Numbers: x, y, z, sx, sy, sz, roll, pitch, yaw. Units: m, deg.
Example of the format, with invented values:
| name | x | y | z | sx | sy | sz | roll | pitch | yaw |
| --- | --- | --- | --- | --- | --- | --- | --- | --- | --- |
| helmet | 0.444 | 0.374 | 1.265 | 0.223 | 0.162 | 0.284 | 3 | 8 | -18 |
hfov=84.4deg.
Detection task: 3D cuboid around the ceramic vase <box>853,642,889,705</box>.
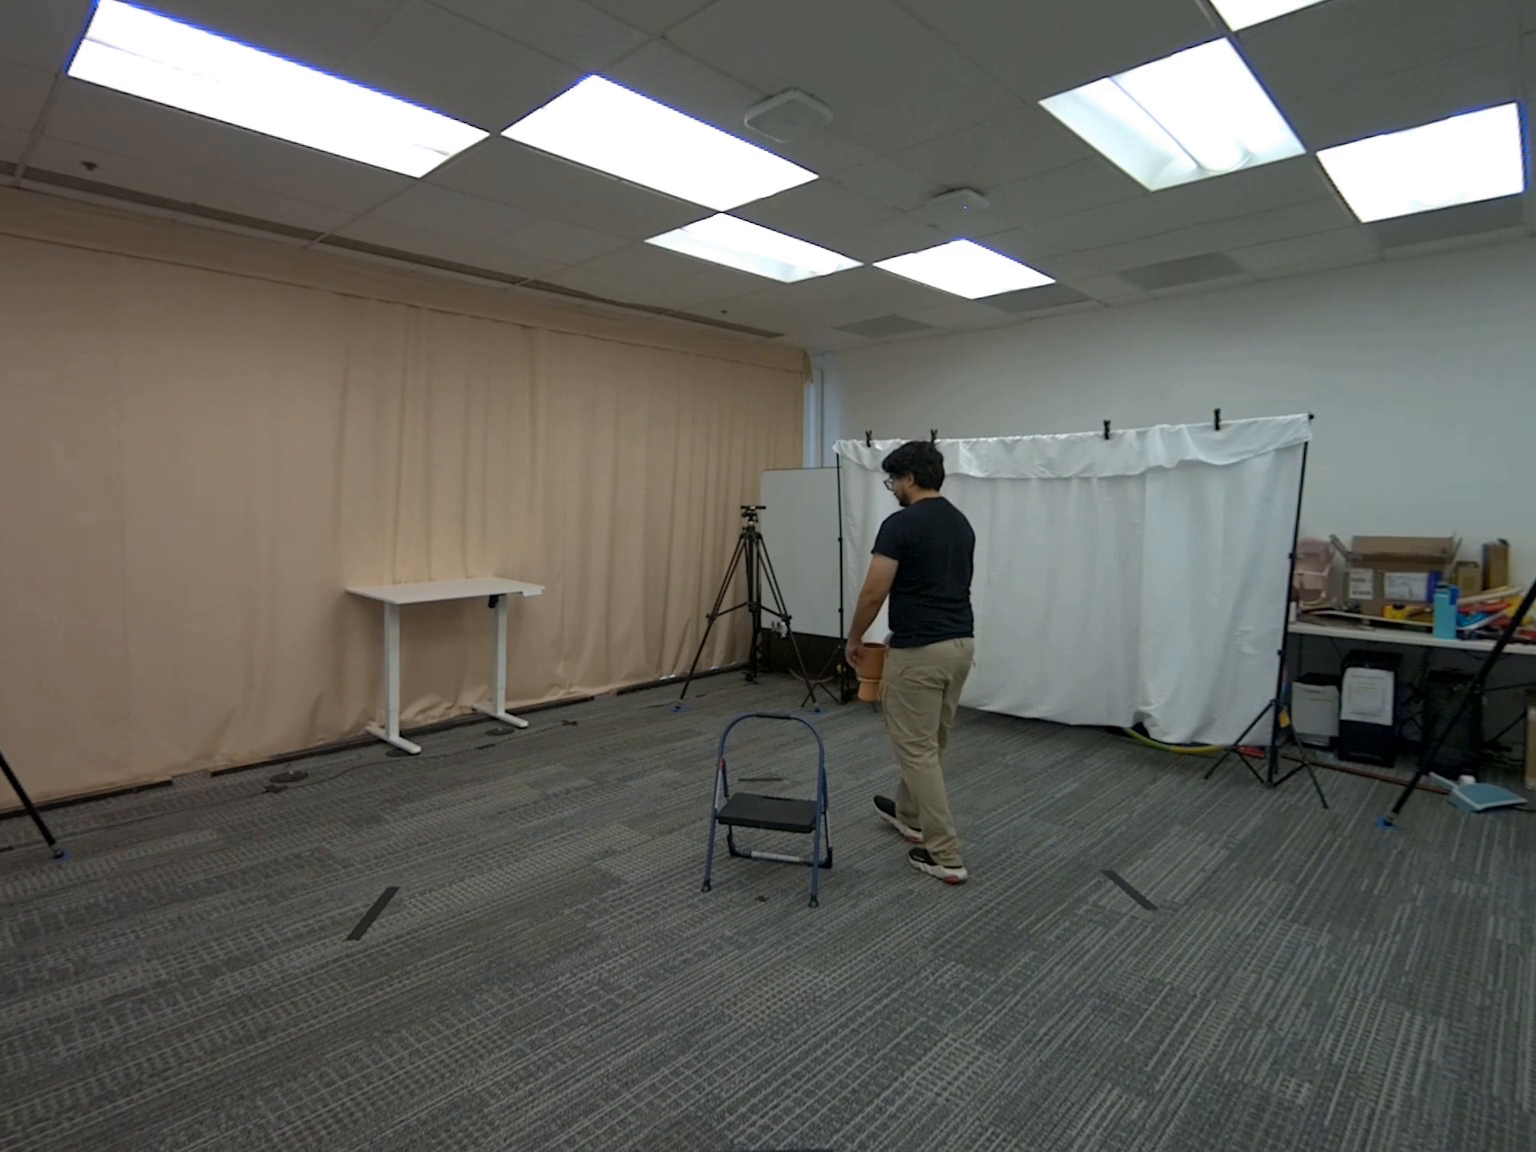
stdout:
| name | x | y | z | sx | sy | sz | roll | pitch | yaw |
| --- | --- | --- | --- | --- | --- | --- | --- | --- | --- |
| ceramic vase | 0.445 | 0.397 | 3.473 | 0.158 | 0.219 | 0.135 | 3 | 6 | -2 |
